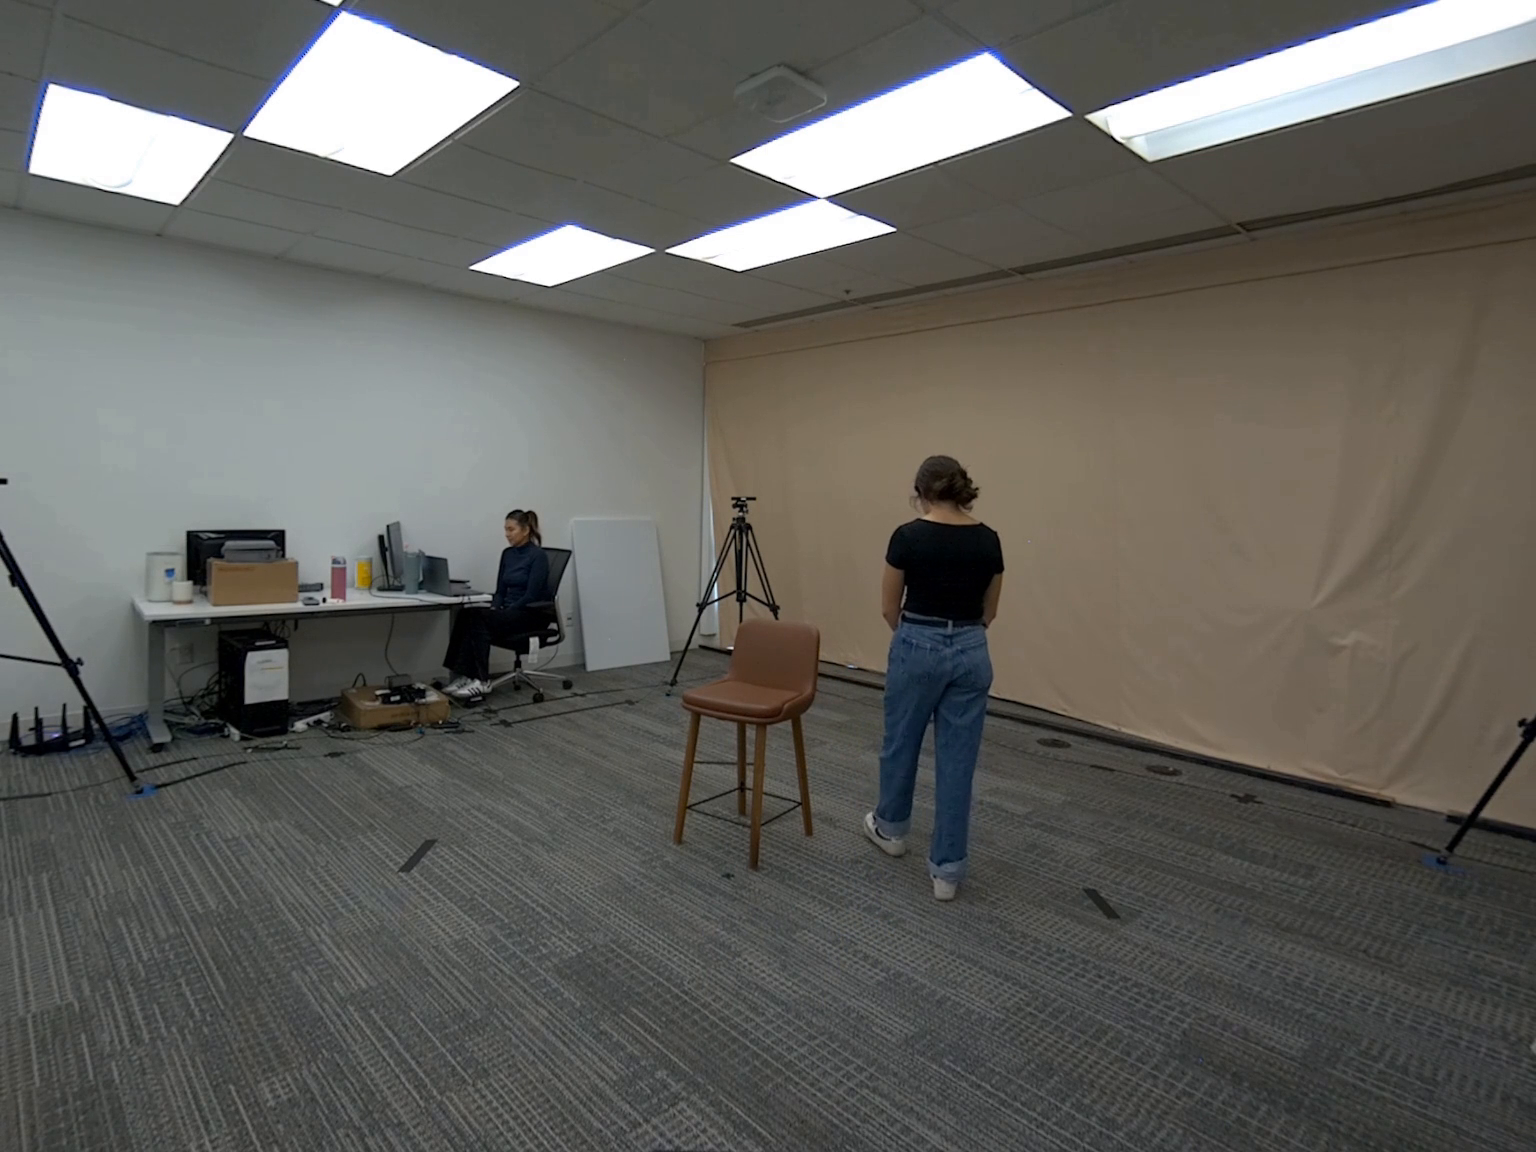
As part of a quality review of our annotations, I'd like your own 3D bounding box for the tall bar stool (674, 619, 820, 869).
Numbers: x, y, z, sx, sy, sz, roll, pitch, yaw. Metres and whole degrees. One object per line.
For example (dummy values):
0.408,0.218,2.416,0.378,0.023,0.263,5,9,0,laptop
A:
-0.082,0.646,3.433,0.468,0.888,0.457,4,3,37,tall bar stool
